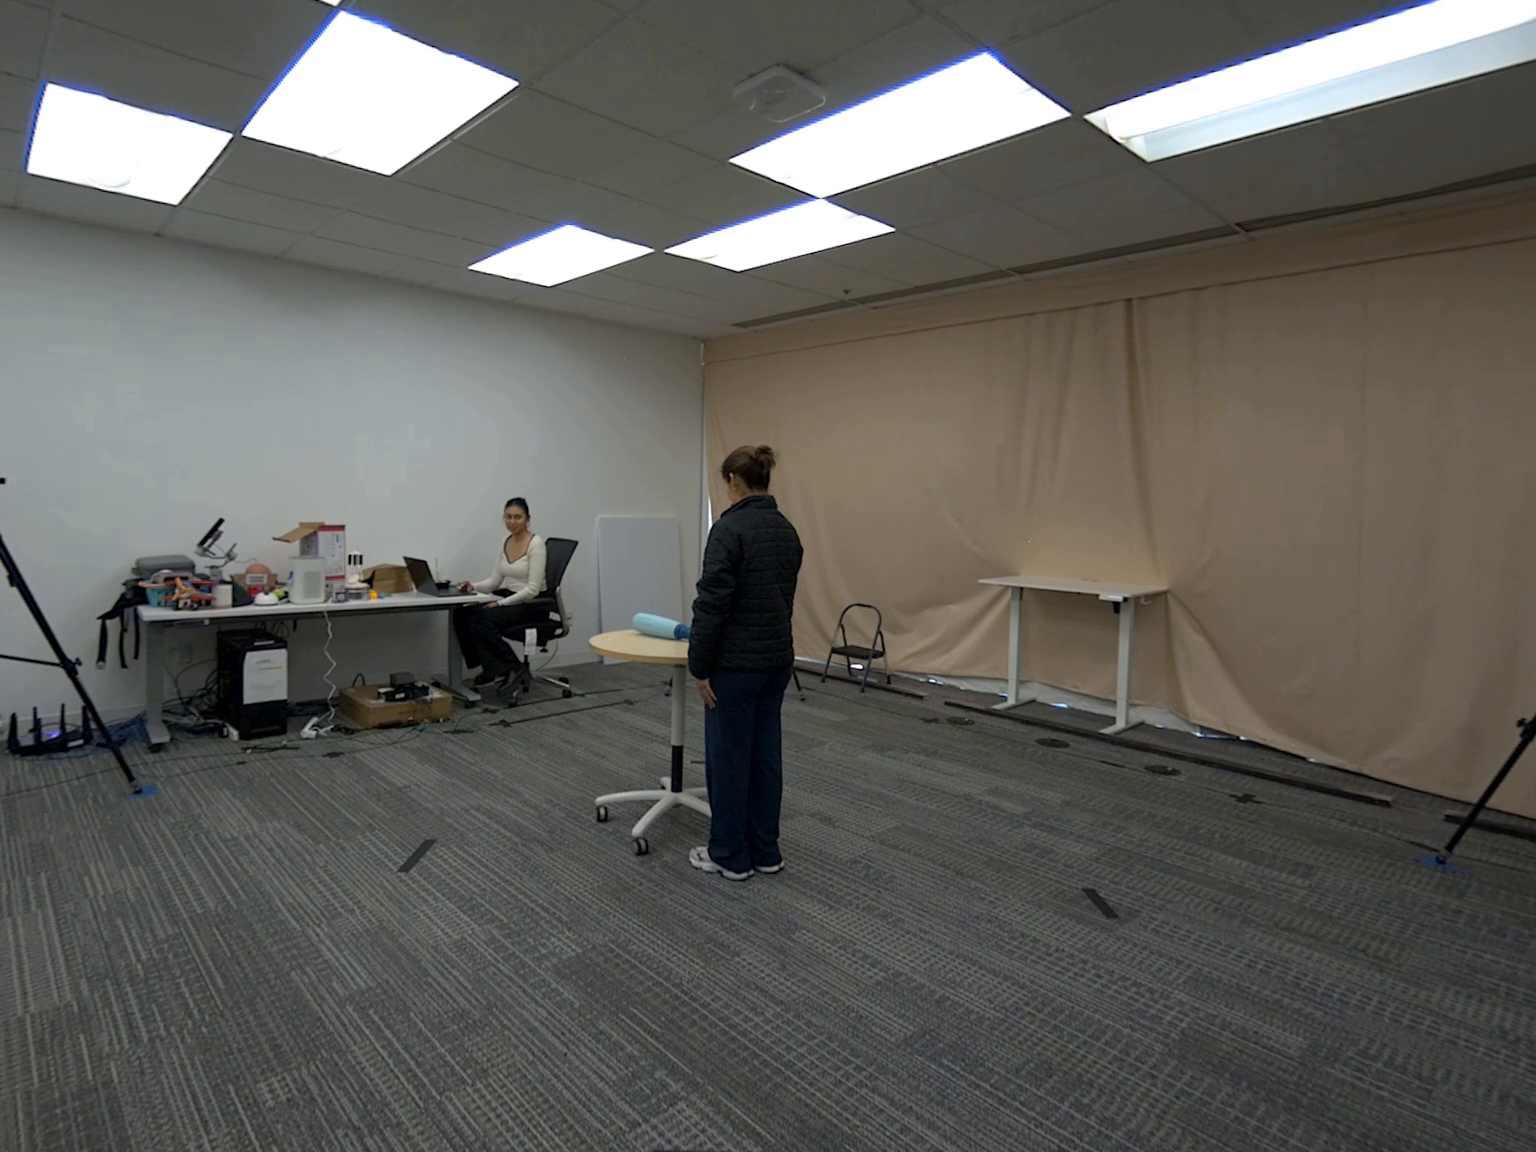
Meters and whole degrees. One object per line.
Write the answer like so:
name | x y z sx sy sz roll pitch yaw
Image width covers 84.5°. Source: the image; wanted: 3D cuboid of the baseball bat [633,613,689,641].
baseball bat | -0.357 0.241 3.562 0.557 0.089 0.087 9 8 36
